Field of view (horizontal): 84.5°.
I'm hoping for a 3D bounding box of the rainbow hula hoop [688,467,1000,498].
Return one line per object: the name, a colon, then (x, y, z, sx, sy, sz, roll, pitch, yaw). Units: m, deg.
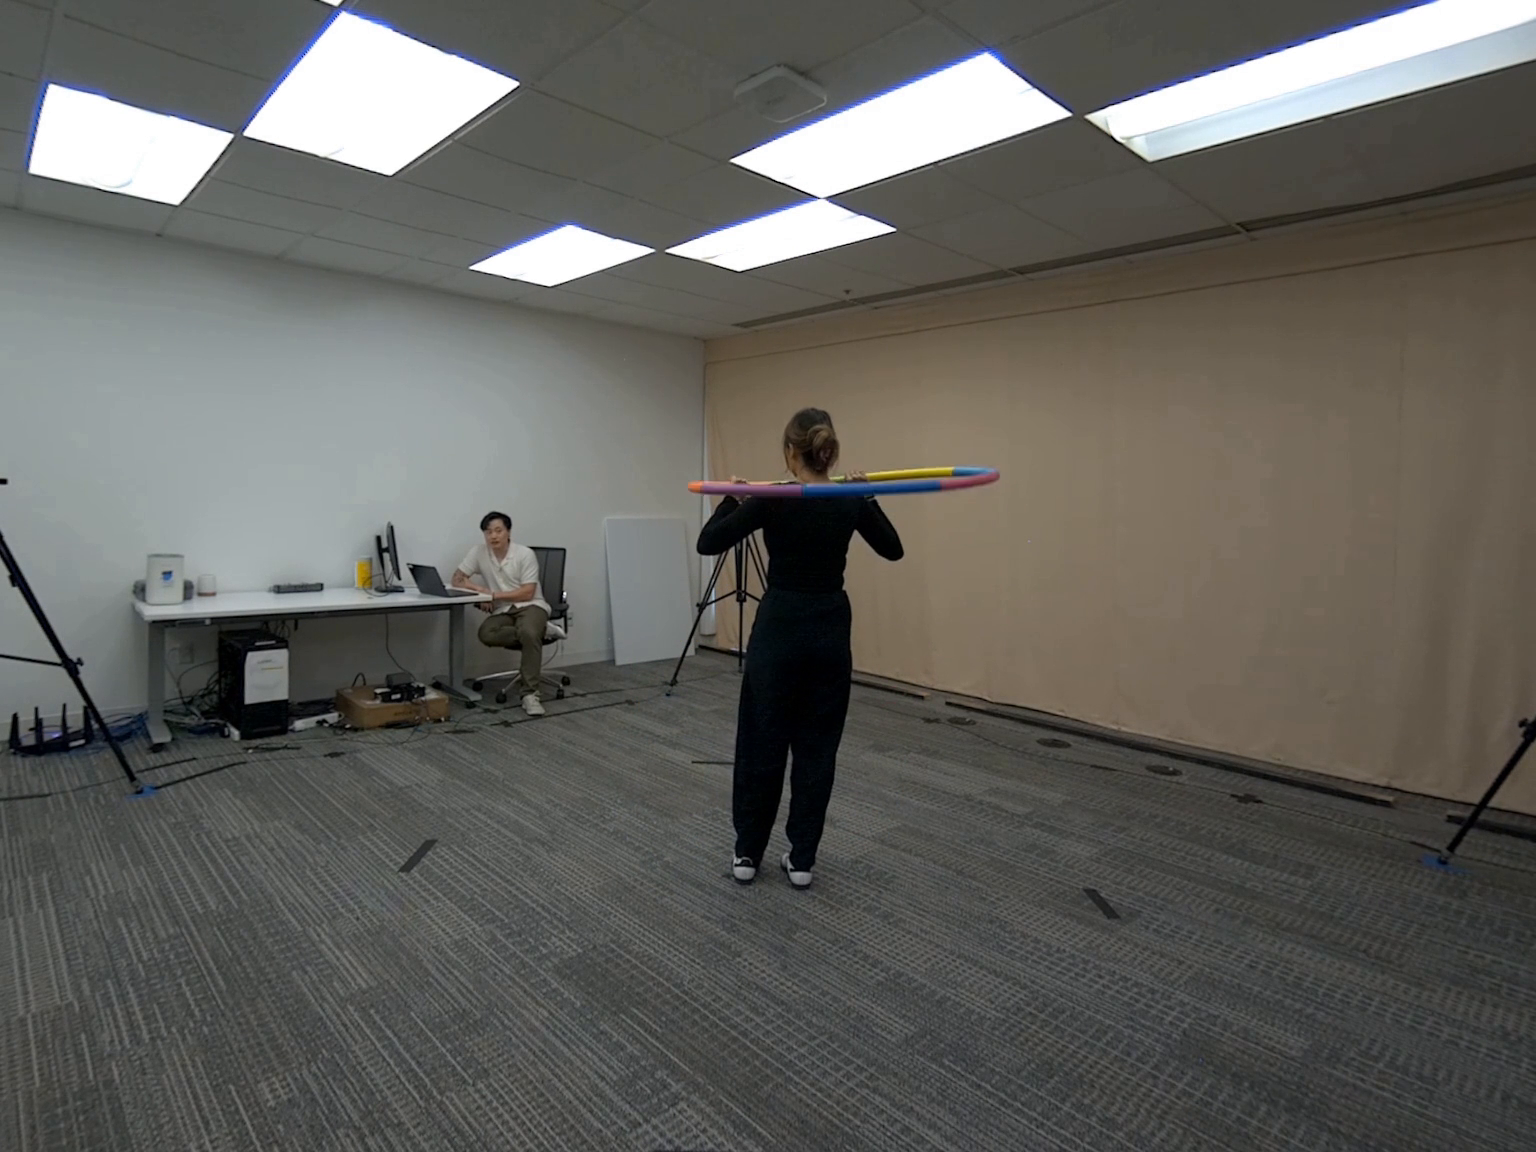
rainbow hula hoop: (0.224, -0.295, 2.742, 0.978, 0.035, 0.983, -3, 7, -1)
